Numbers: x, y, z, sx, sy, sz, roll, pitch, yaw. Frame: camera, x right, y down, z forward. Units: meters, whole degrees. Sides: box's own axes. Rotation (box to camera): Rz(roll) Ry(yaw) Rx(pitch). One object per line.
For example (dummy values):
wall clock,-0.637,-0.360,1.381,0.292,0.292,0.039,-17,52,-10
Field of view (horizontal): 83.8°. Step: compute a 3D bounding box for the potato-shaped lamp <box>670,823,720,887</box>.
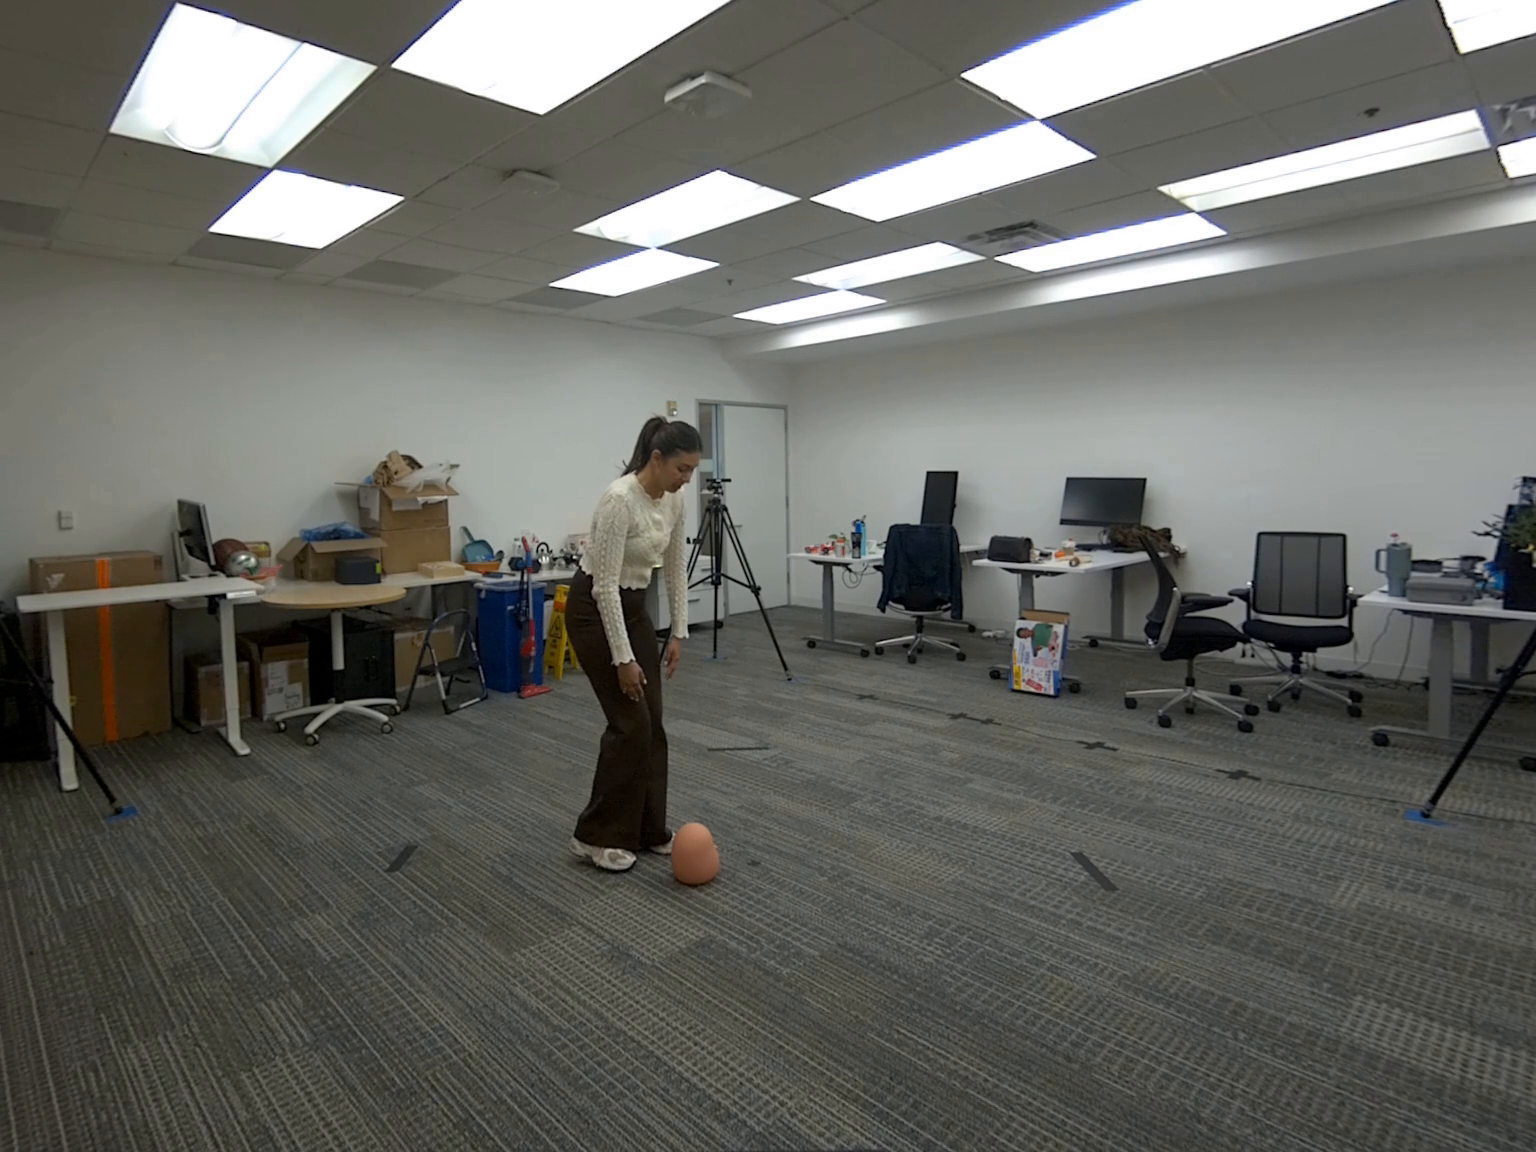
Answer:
potato-shaped lamp,-0.253,0.961,2.982,0.169,0.197,0.167,-1,4,31
